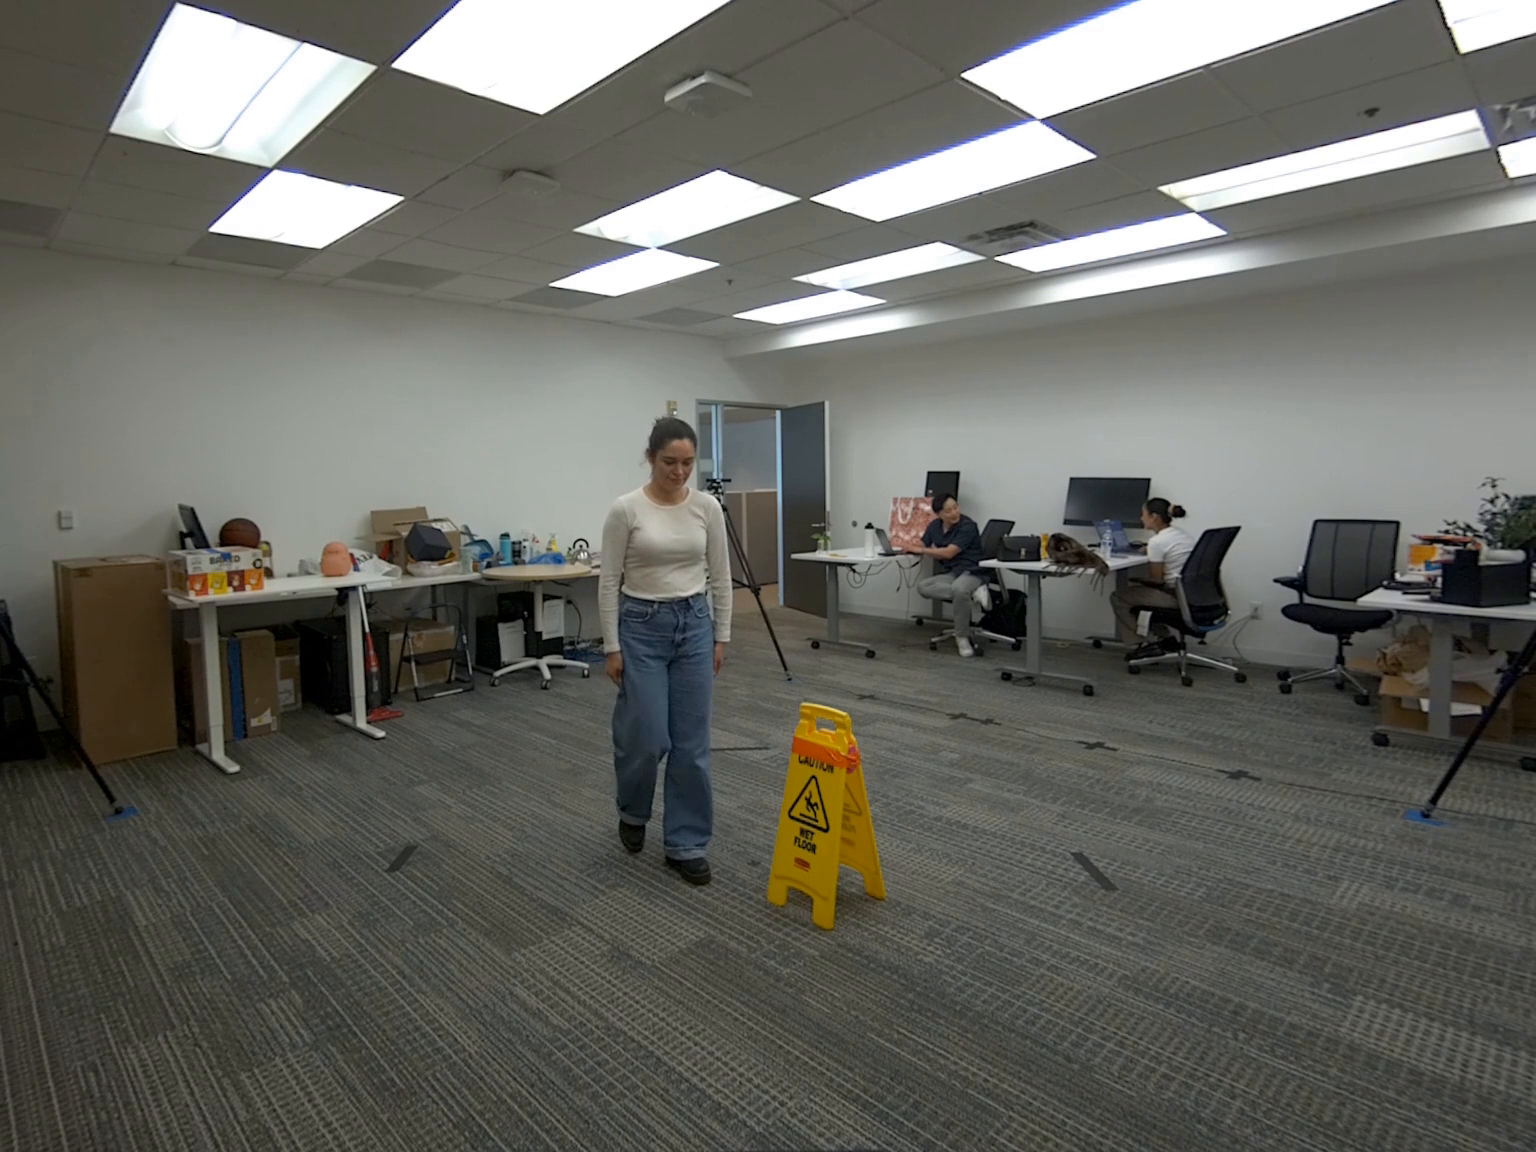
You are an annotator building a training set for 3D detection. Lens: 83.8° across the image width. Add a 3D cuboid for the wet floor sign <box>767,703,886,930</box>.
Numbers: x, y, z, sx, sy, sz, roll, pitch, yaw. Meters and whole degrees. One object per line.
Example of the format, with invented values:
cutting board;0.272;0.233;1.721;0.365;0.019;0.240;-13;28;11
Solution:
wet floor sign;0.192;0.751;2.804;0.282;0.644;0.291;-5;5;-44
